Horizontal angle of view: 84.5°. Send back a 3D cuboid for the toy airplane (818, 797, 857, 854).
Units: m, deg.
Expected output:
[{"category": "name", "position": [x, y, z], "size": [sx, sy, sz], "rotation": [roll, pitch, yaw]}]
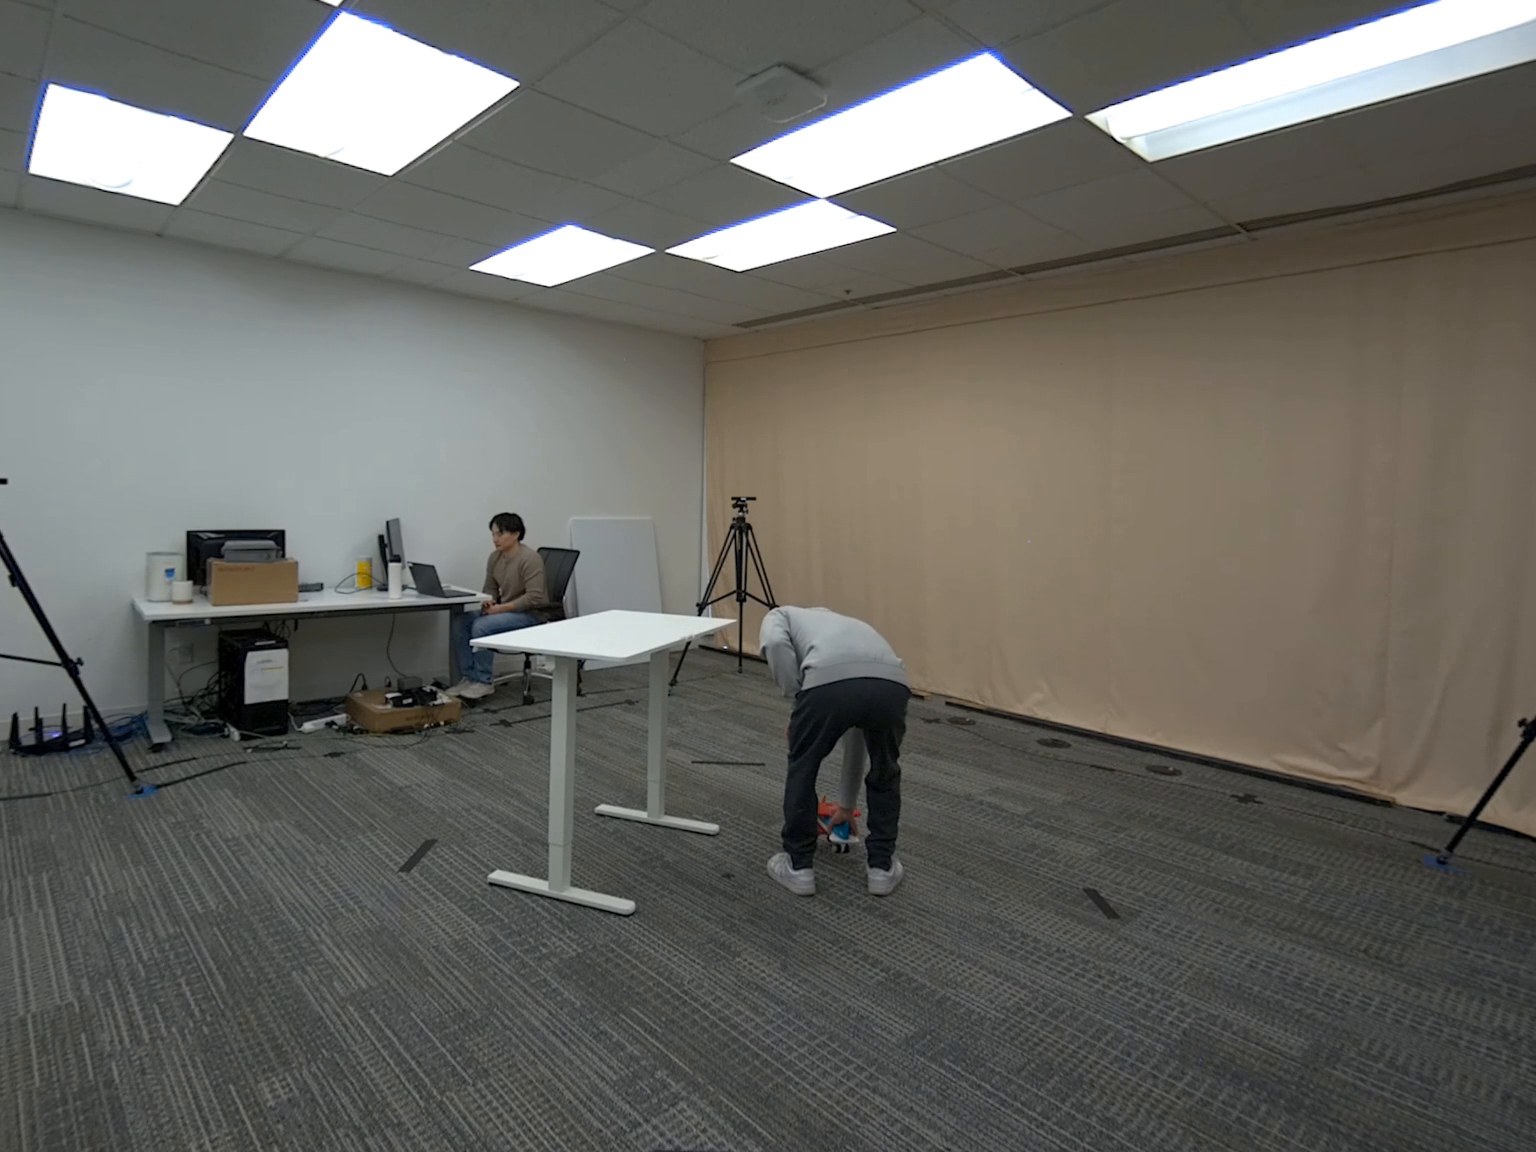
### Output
[{"category": "toy airplane", "position": [0.275, 0.989, 3.334], "size": [0.265, 0.157, 0.244], "rotation": [1, -6, 45]}]
